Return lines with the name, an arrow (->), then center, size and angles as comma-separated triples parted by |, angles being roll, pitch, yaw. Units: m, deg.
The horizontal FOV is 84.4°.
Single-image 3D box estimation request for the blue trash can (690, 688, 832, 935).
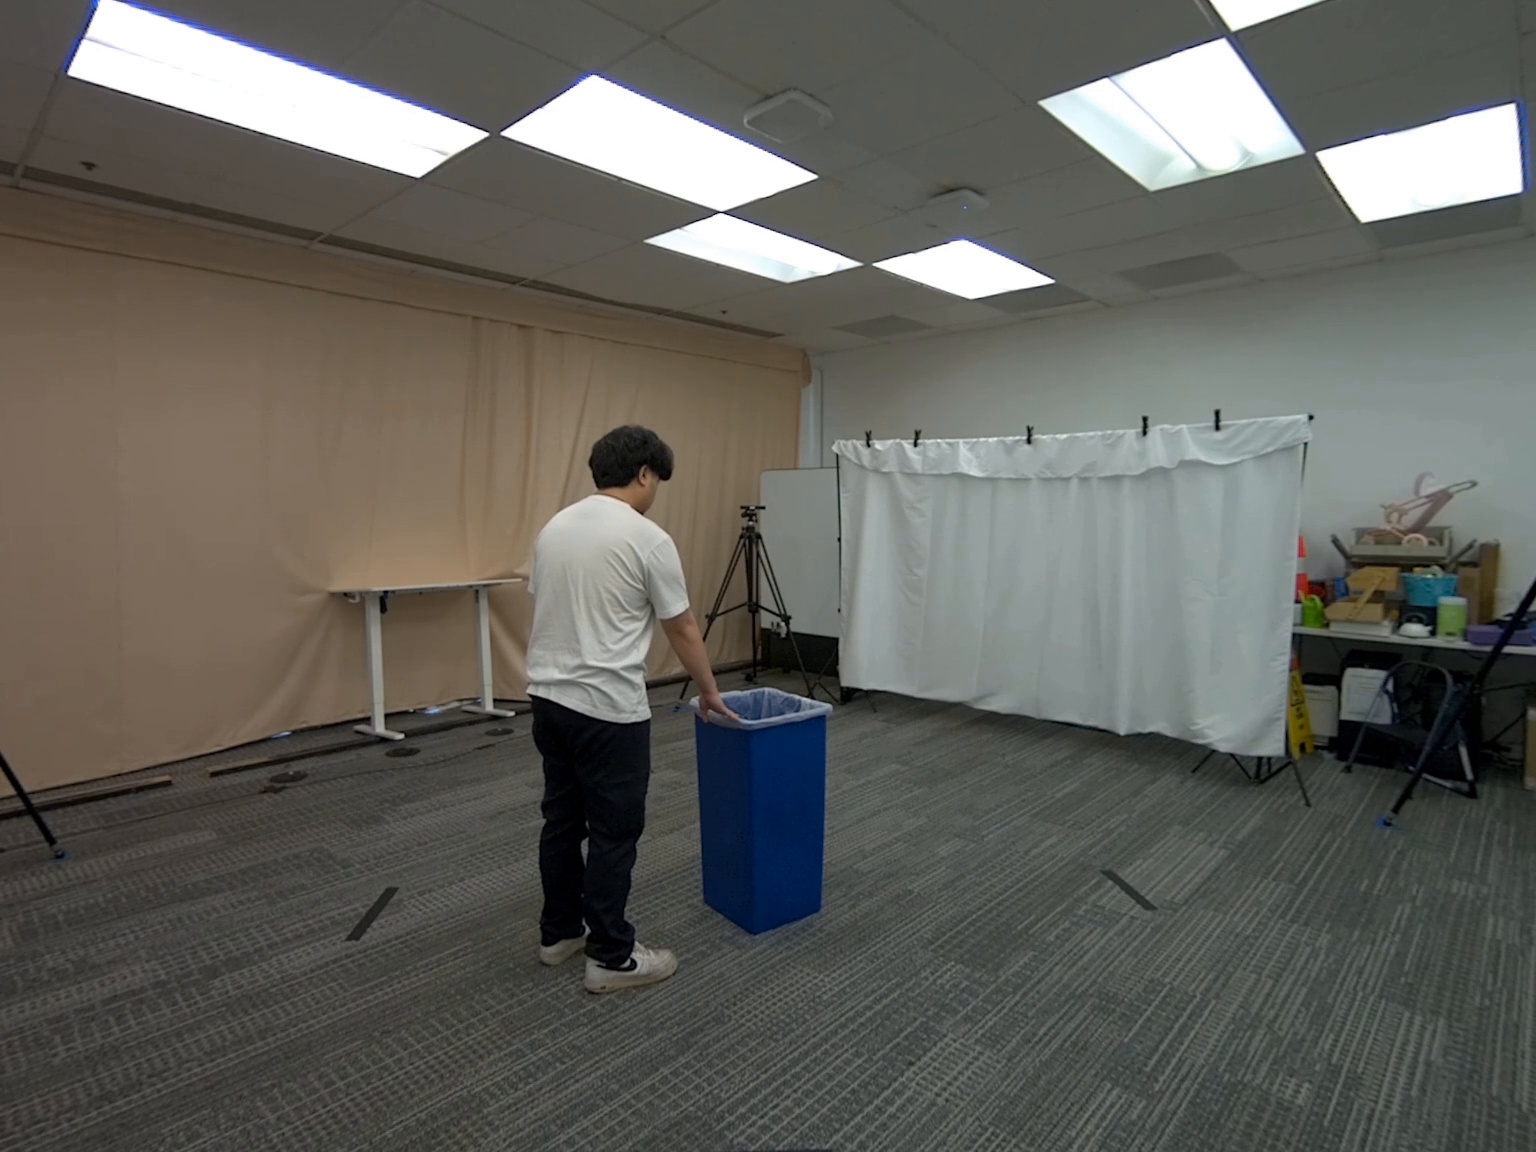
blue trash can -> -0.025, 0.793, 2.907 | 0.363, 0.712, 0.390 | -2, 4, -37
